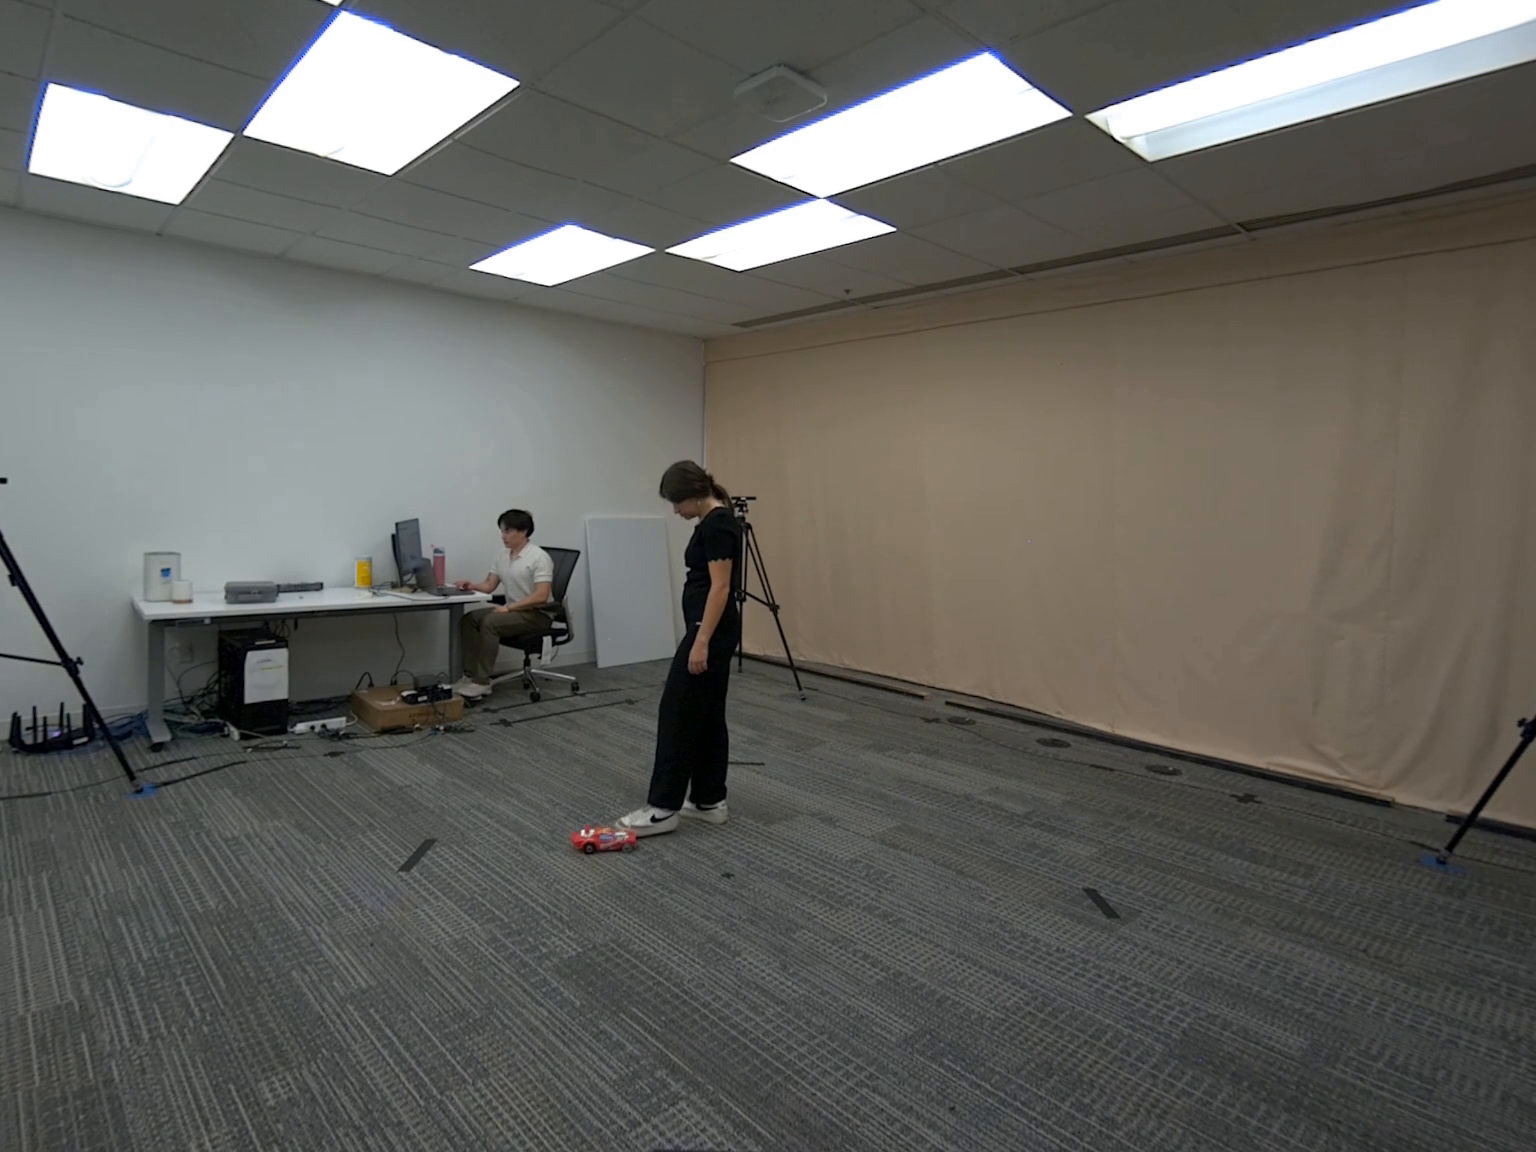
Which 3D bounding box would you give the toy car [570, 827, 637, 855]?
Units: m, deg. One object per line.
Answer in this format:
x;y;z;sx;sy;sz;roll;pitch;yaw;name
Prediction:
-0.660;1.042;3.323;0.252;0.083;0.131;13;2;-10;toy car
